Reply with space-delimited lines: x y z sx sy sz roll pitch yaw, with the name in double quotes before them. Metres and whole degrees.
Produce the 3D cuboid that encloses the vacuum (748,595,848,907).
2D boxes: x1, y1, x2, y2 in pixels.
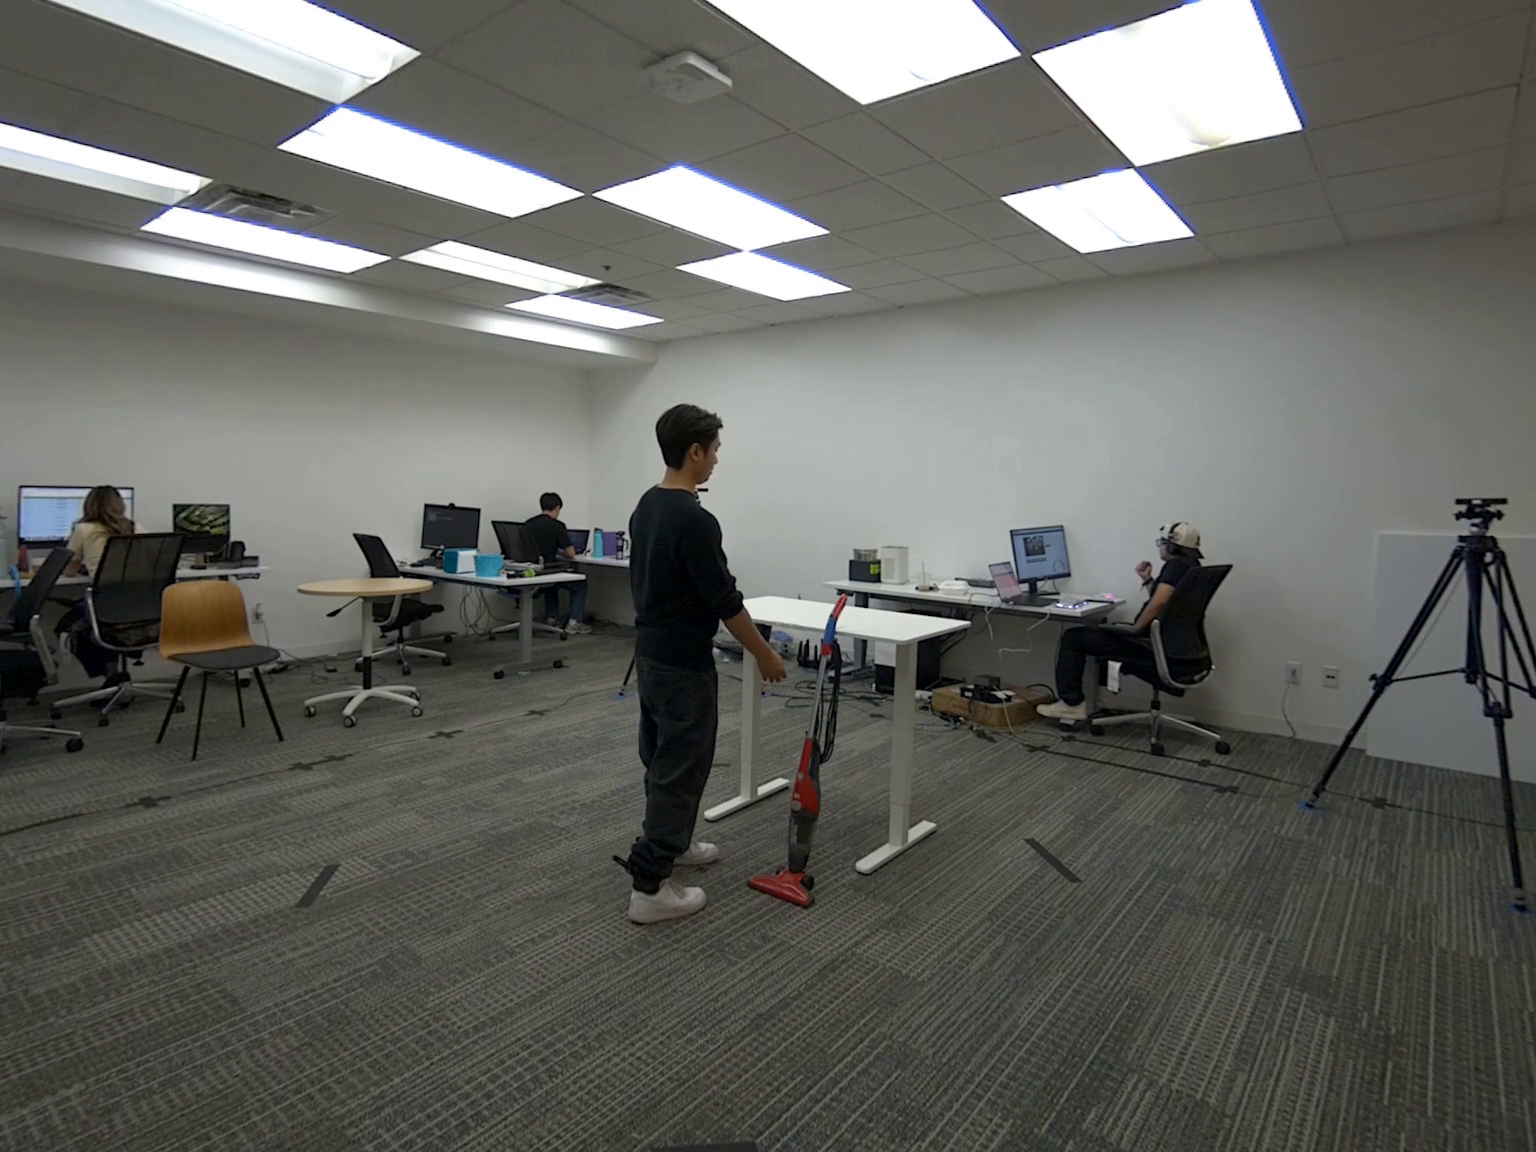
"vacuum" 0.174 0.590 3.068 0.261 1.058 0.138 4 -15 38
